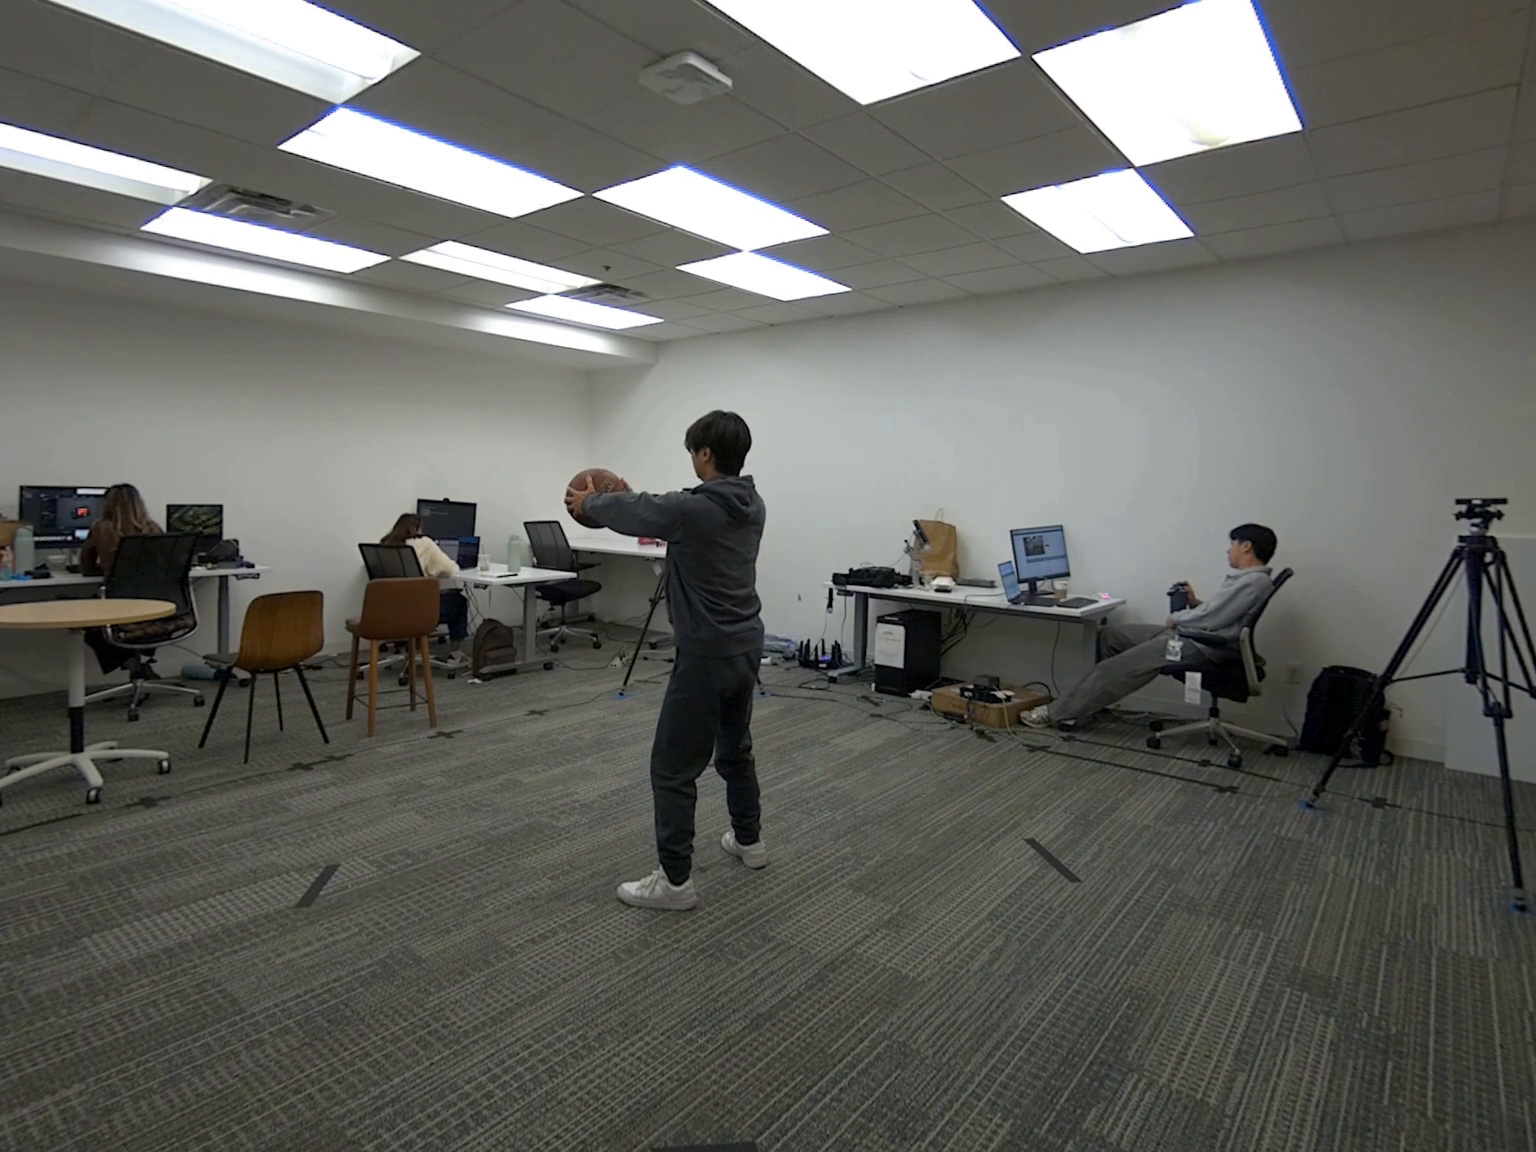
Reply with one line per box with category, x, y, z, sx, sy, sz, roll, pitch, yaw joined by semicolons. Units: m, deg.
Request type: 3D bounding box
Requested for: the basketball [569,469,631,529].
basketball;-0.681;-0.298;3.326;0.235;0.235;0.237;1;4;-2
